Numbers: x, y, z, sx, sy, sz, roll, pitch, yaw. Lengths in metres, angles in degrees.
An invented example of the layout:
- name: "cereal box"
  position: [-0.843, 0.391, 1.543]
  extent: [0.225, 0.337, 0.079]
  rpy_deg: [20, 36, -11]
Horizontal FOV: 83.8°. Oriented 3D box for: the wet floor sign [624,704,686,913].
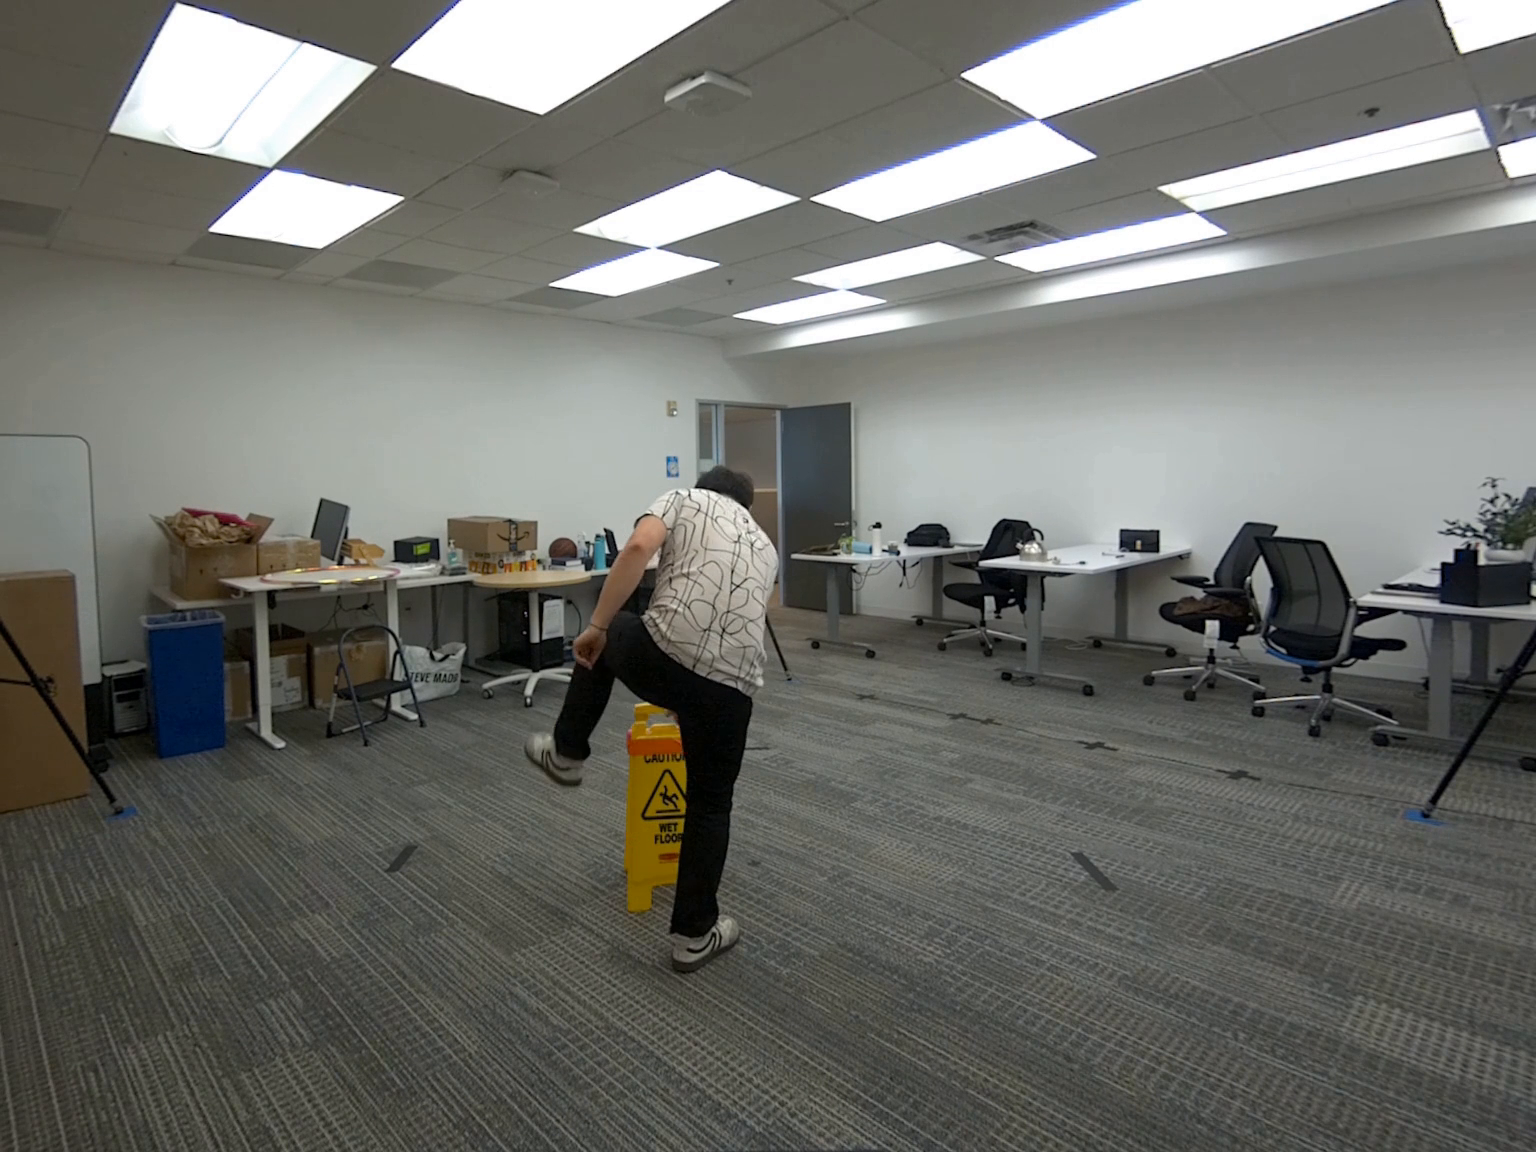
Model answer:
- name: "wet floor sign"
  position: [-0.350, 0.746, 2.916]
  extent: [0.280, 0.643, 0.294]
  rpy_deg: [-2, 5, -10]
